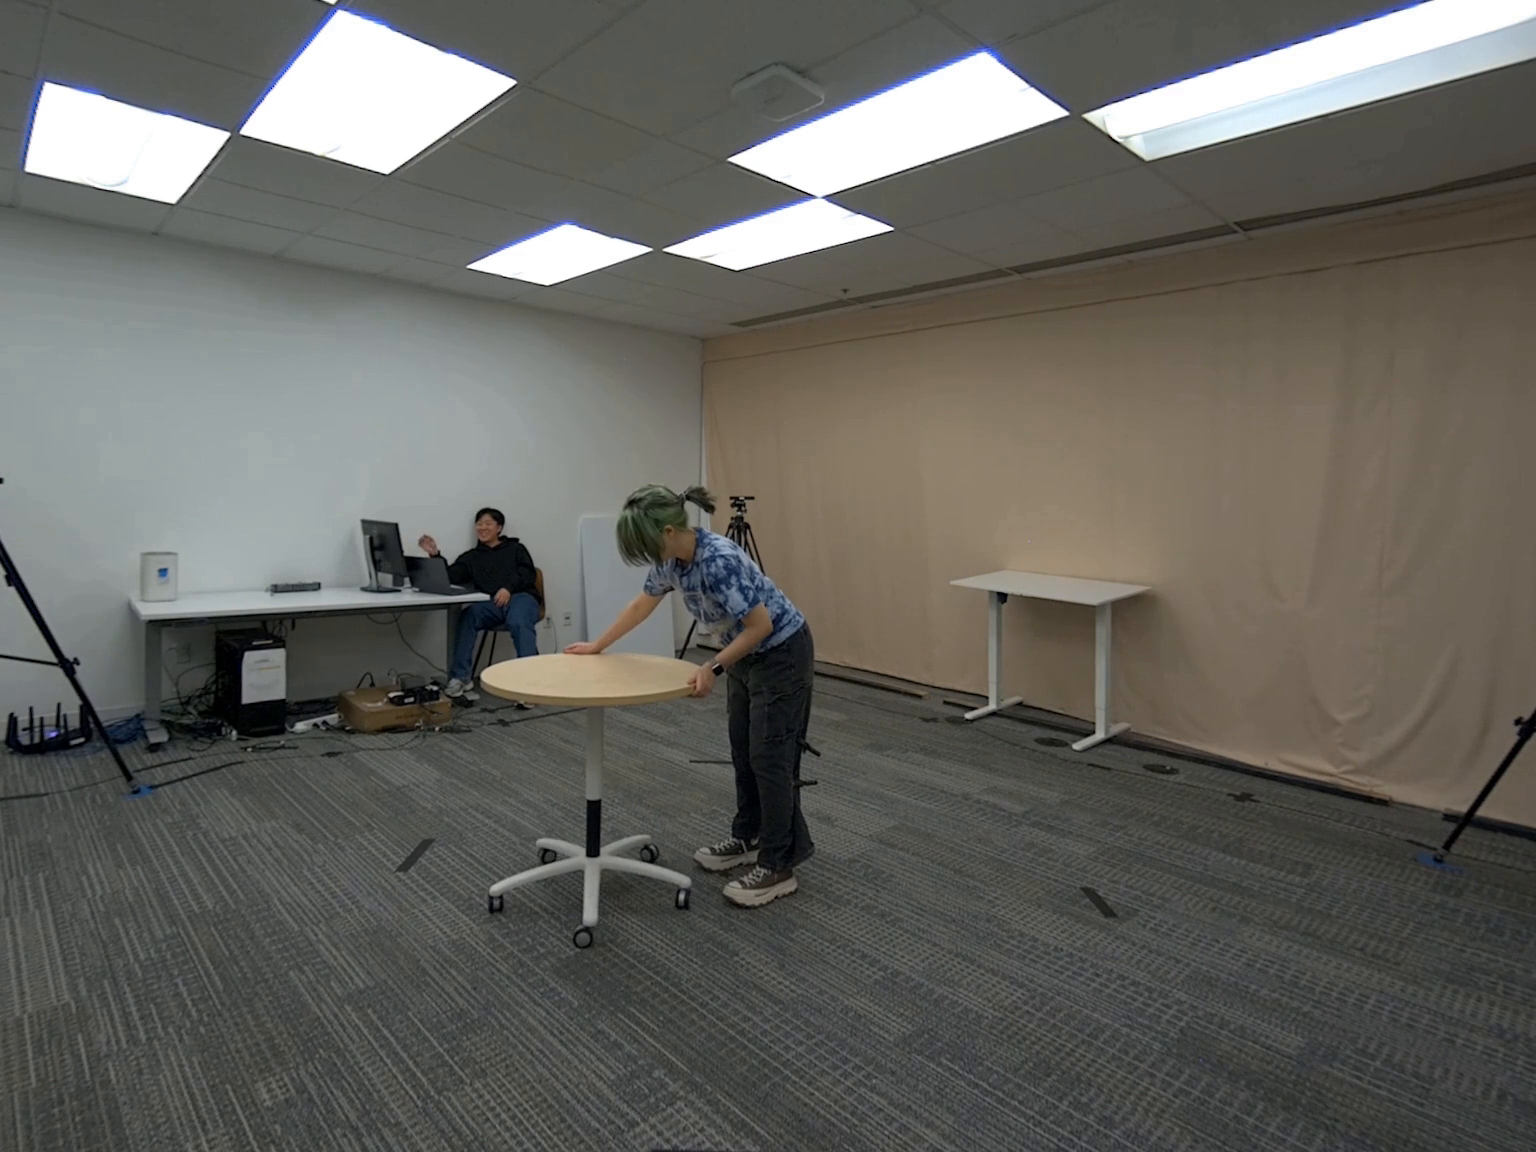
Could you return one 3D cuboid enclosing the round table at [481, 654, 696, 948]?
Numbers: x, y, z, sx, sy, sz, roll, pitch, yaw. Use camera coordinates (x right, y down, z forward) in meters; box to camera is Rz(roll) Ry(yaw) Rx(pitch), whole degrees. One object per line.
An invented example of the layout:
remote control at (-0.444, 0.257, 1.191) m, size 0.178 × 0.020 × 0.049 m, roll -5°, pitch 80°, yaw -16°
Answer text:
round table at (-0.606, 0.723, 2.908) m, size 0.763 × 0.792 × 0.766 m, roll 1°, pitch 4°, yaw -1°
